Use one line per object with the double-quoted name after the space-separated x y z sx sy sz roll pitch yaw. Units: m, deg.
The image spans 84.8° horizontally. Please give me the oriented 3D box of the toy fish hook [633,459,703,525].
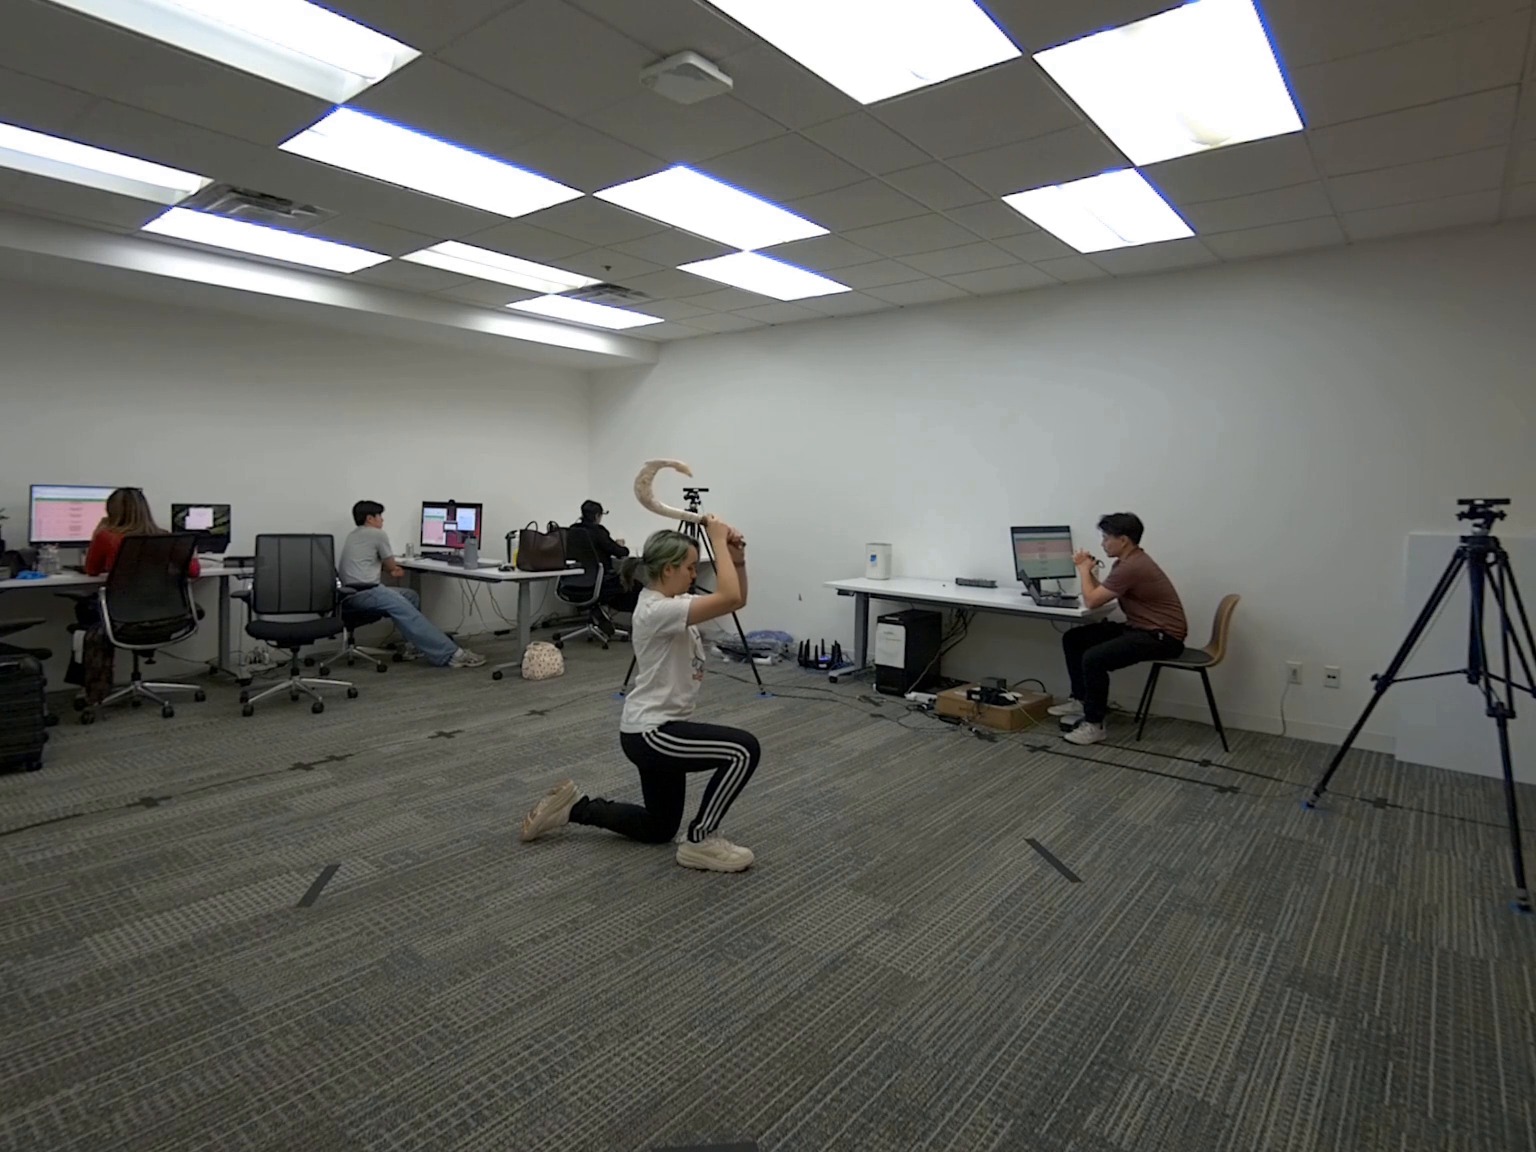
-0.286 -0.288 3.308 0.510 0.224 0.048 29 5 5 "toy fish hook"
